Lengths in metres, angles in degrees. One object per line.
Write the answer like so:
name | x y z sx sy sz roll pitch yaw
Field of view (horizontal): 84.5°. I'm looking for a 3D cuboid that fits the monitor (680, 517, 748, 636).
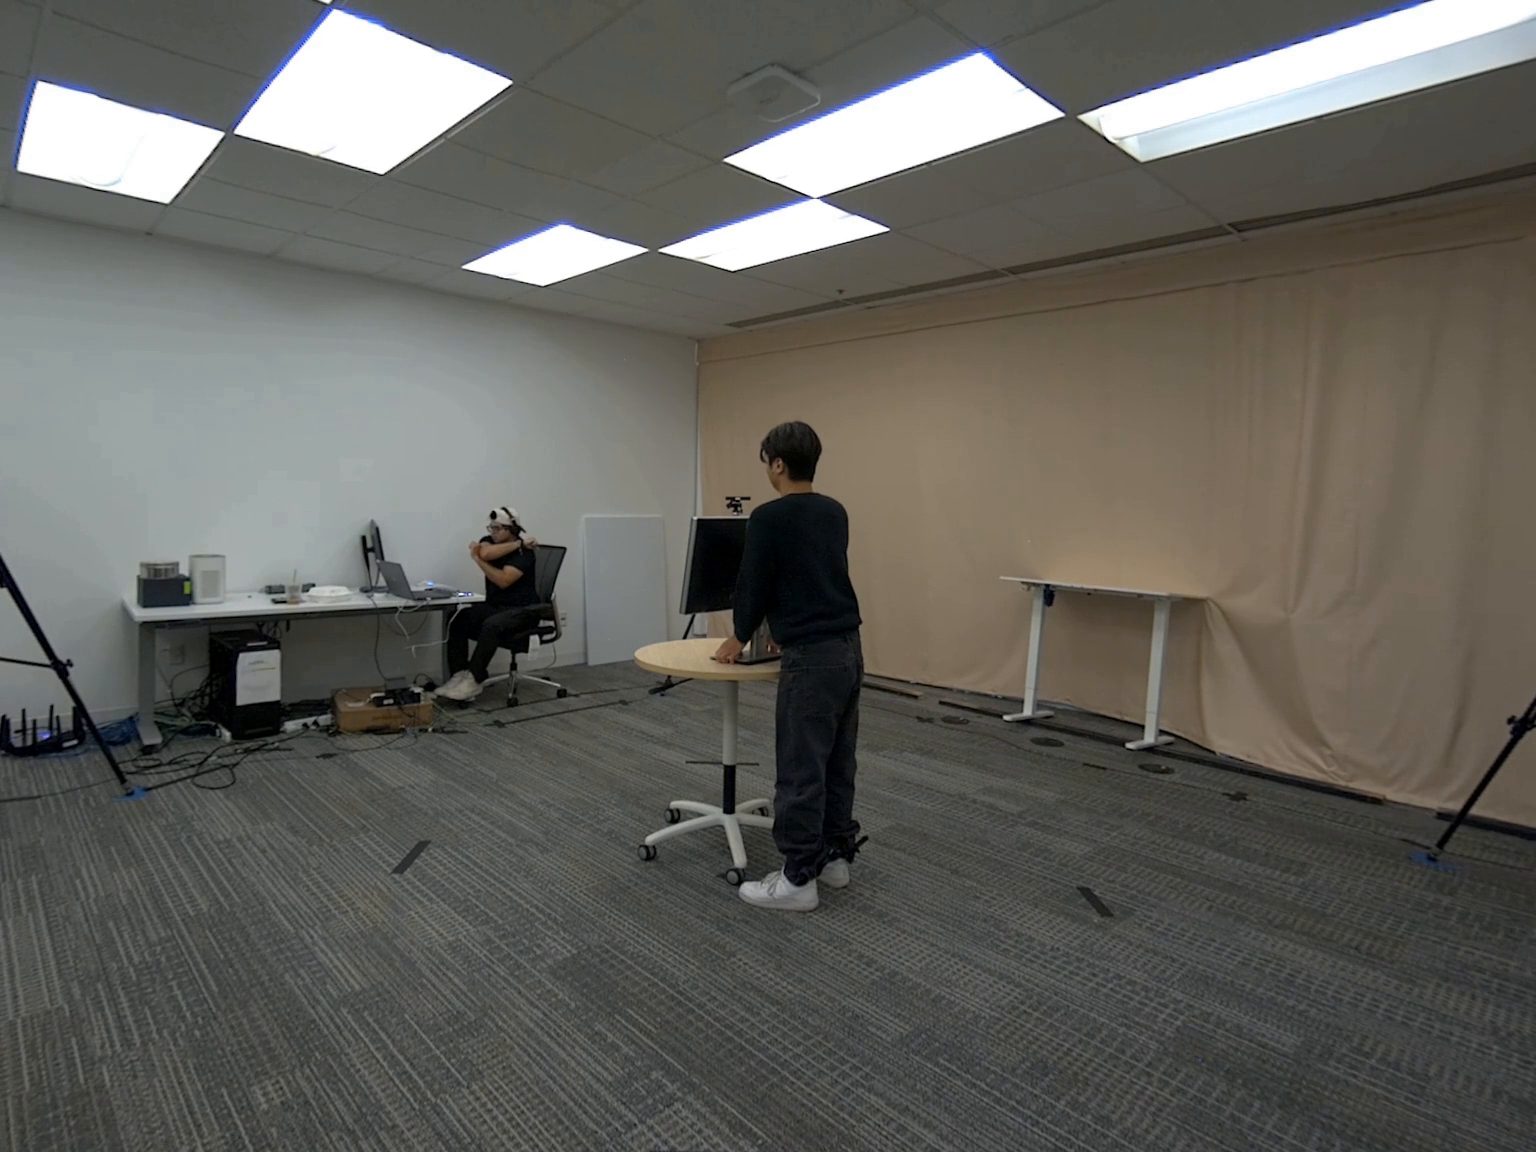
monitor | -0.080 0.046 3.217 0.191 0.522 0.527 0 2 41
